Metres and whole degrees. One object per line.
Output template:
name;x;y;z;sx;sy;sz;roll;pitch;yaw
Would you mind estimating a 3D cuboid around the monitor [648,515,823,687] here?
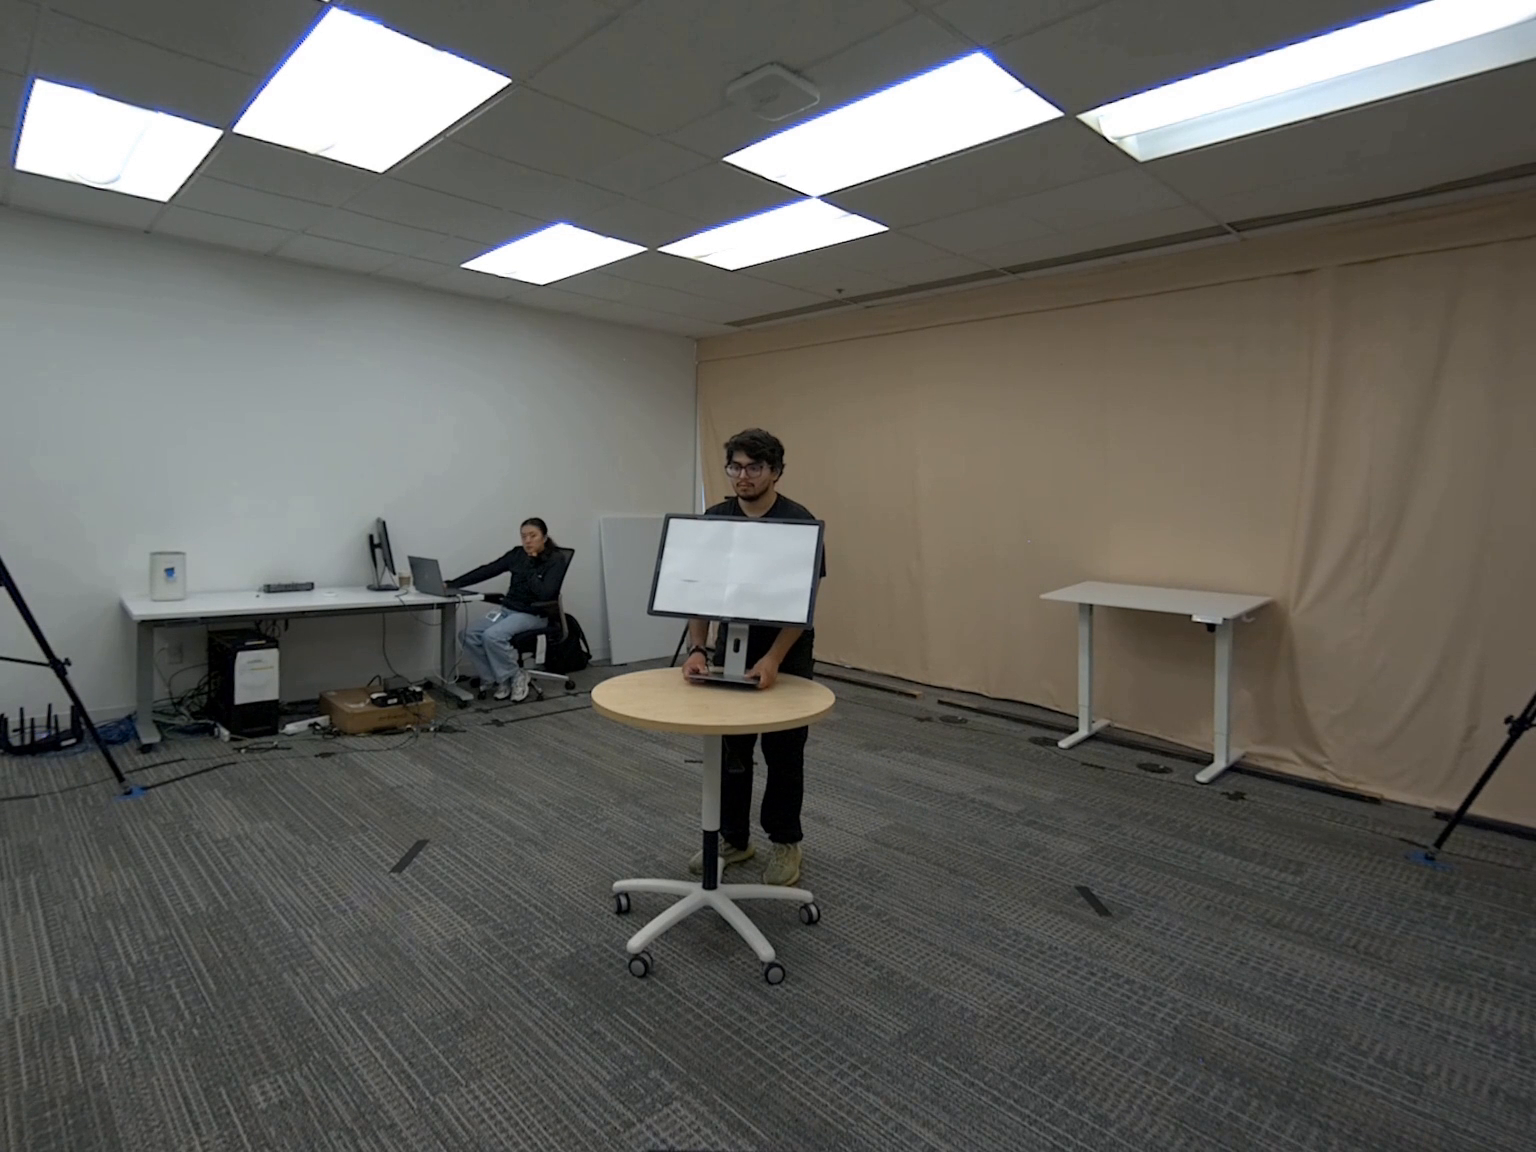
monitor;-0.112;0.080;2.823;0.574;0.558;0.205;3;-11;18
